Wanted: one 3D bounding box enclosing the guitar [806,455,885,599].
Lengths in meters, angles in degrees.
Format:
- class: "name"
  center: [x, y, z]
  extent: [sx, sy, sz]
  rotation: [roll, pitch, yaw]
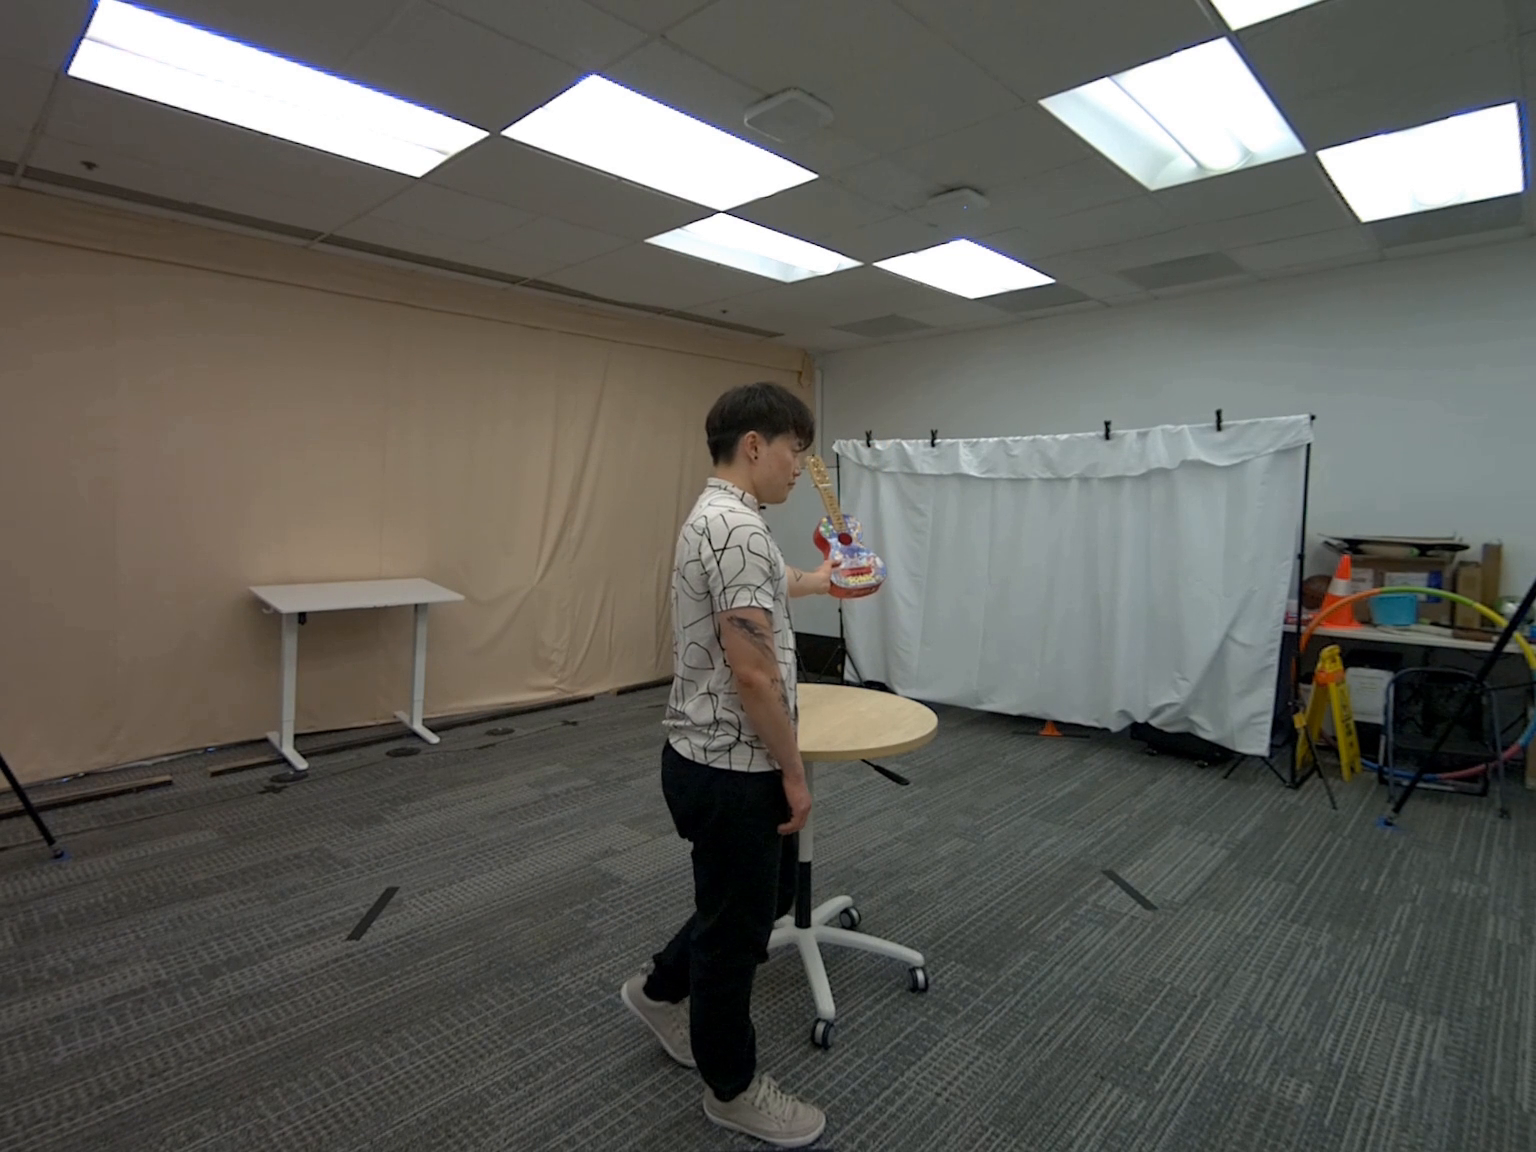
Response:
- class: "guitar"
  center: [0.248, -0.162, 2.631]
  extent: [0.190, 0.507, 0.070]
  rotation: [2, -32, -14]
